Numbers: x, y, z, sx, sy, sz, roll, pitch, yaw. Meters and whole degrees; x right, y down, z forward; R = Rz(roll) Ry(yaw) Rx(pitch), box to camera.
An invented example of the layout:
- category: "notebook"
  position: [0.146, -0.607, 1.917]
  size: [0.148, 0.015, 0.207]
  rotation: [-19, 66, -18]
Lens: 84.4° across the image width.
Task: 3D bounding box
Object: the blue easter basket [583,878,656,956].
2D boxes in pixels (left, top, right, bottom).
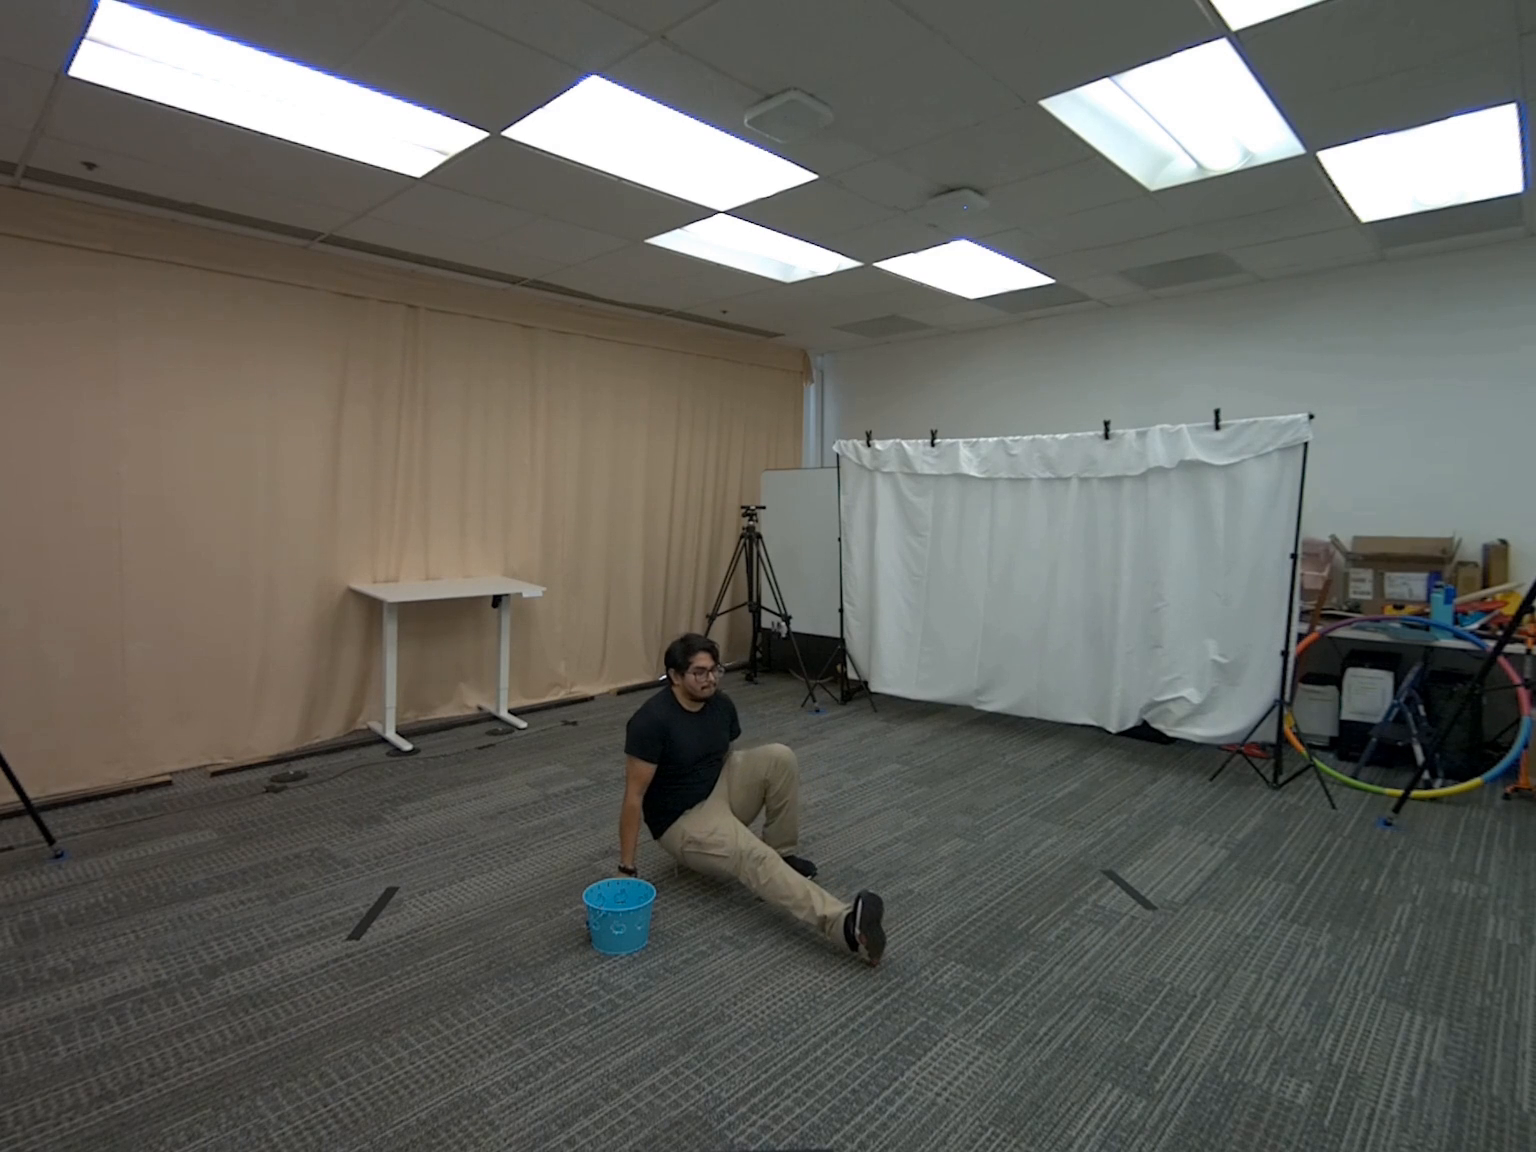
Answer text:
- category: "blue easter basket"
  position: [-0.479, 1.083, 2.706]
  size: [0.243, 0.155, 0.244]
  rotation: [-1, 4, -2]
